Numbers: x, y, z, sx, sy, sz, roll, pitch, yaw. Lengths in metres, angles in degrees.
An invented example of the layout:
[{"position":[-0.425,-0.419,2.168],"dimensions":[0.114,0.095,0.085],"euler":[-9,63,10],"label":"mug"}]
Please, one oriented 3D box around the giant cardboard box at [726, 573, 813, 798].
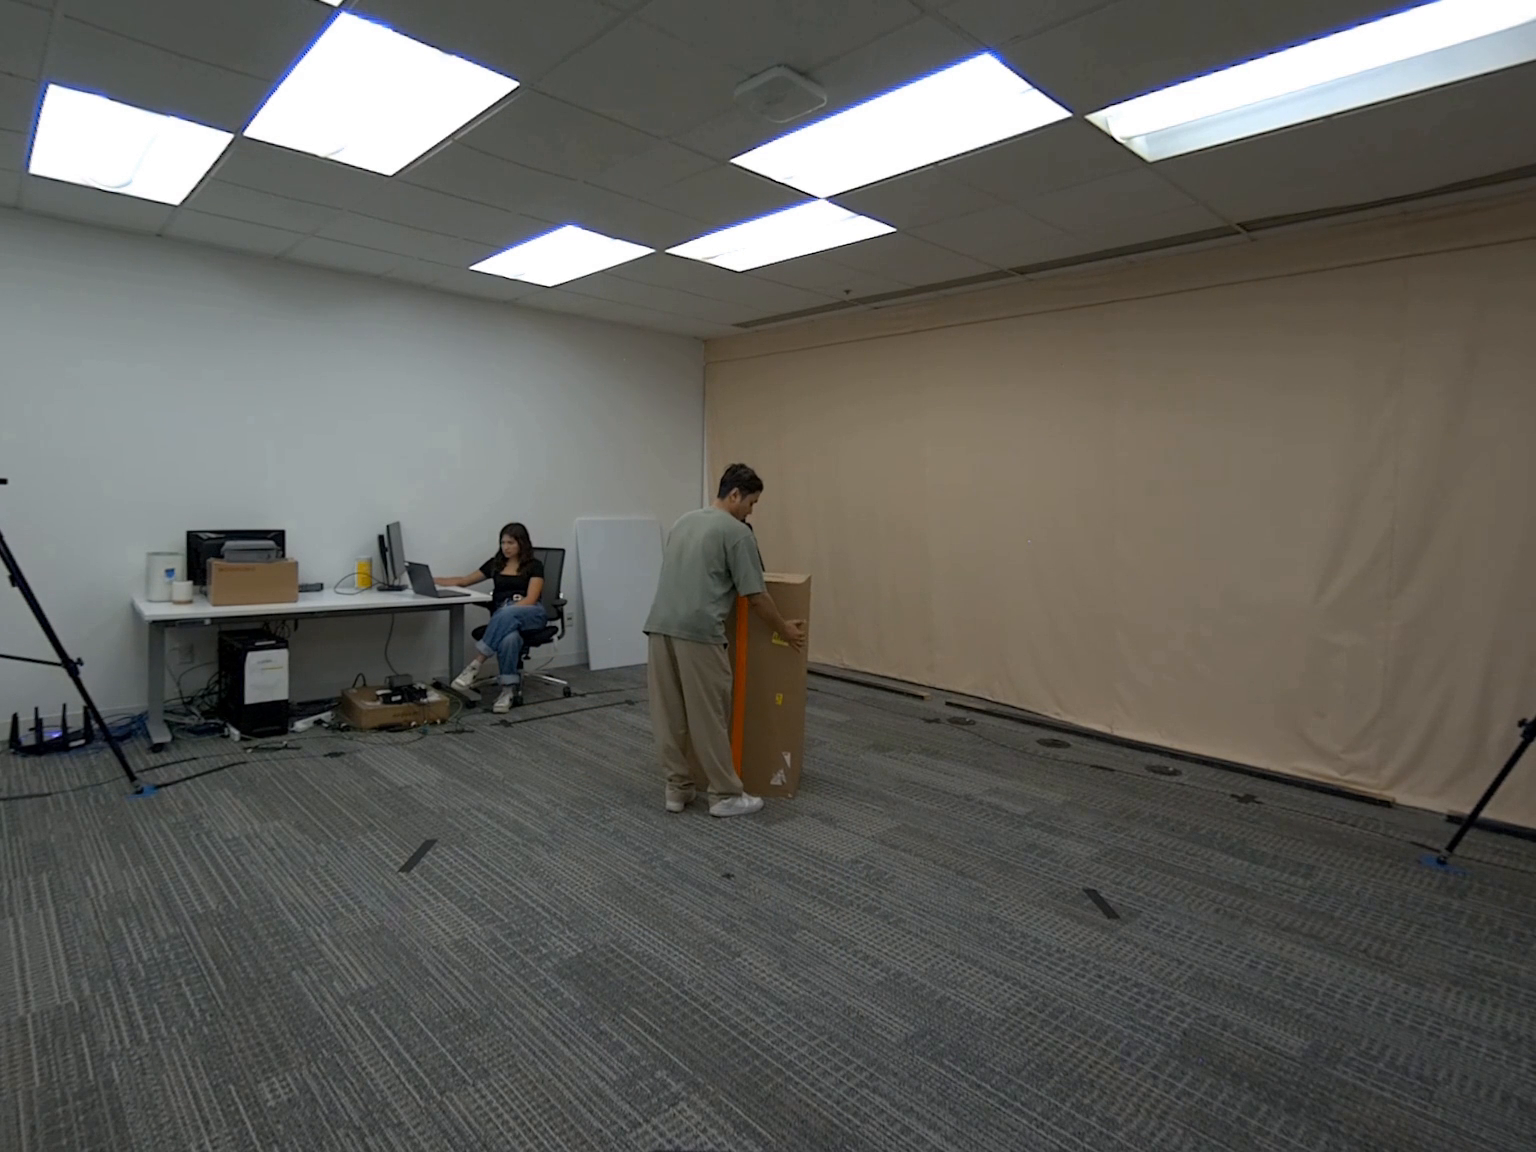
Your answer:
[{"position":[-0.126,0.500,4.175],"dimensions":[0.582,1.023,0.424],"euler":[3,3,8],"label":"giant cardboard box"}]
